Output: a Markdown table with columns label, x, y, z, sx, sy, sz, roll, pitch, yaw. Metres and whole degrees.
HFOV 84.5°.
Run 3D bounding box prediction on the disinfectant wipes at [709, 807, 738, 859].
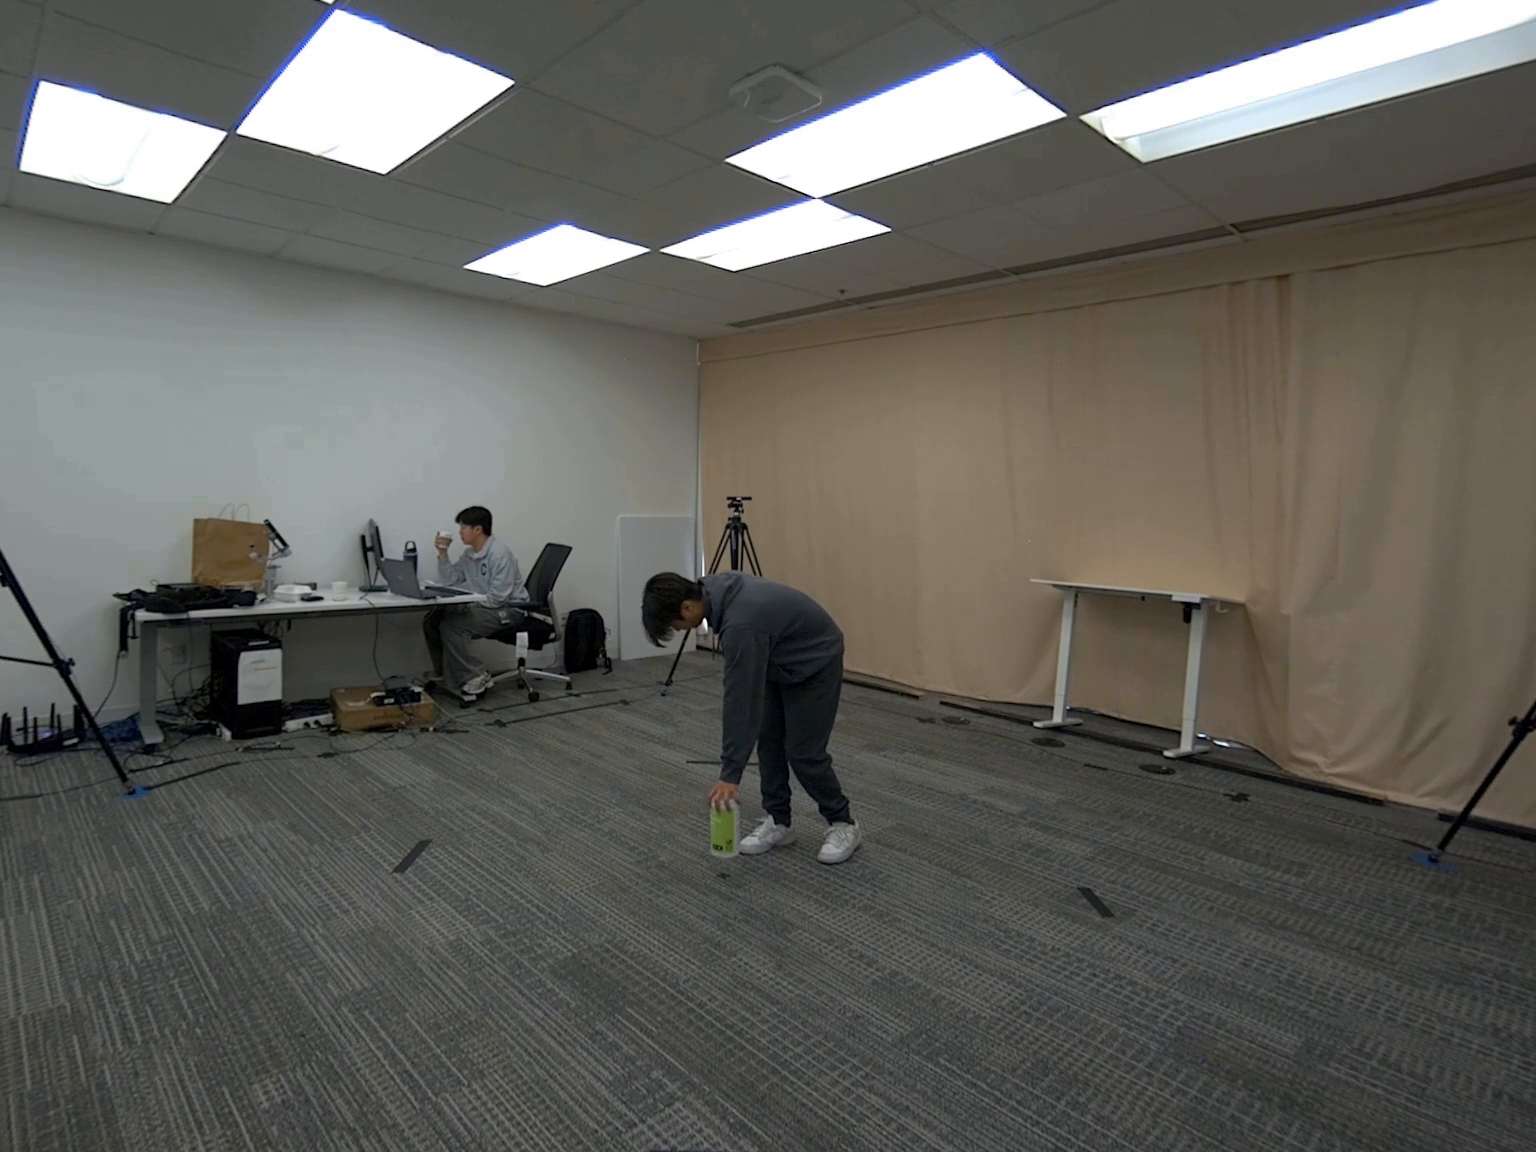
| label | x | y | z | sx | sy | sz | roll | pitch | yaw |
| --- | --- | --- | --- | --- | --- | --- | --- | --- | --- |
| disinfectant wipes | -0.167 | 0.904 | 3.064 | 0.118 | 0.217 | 0.118 | 0 | 4 | -1 |
